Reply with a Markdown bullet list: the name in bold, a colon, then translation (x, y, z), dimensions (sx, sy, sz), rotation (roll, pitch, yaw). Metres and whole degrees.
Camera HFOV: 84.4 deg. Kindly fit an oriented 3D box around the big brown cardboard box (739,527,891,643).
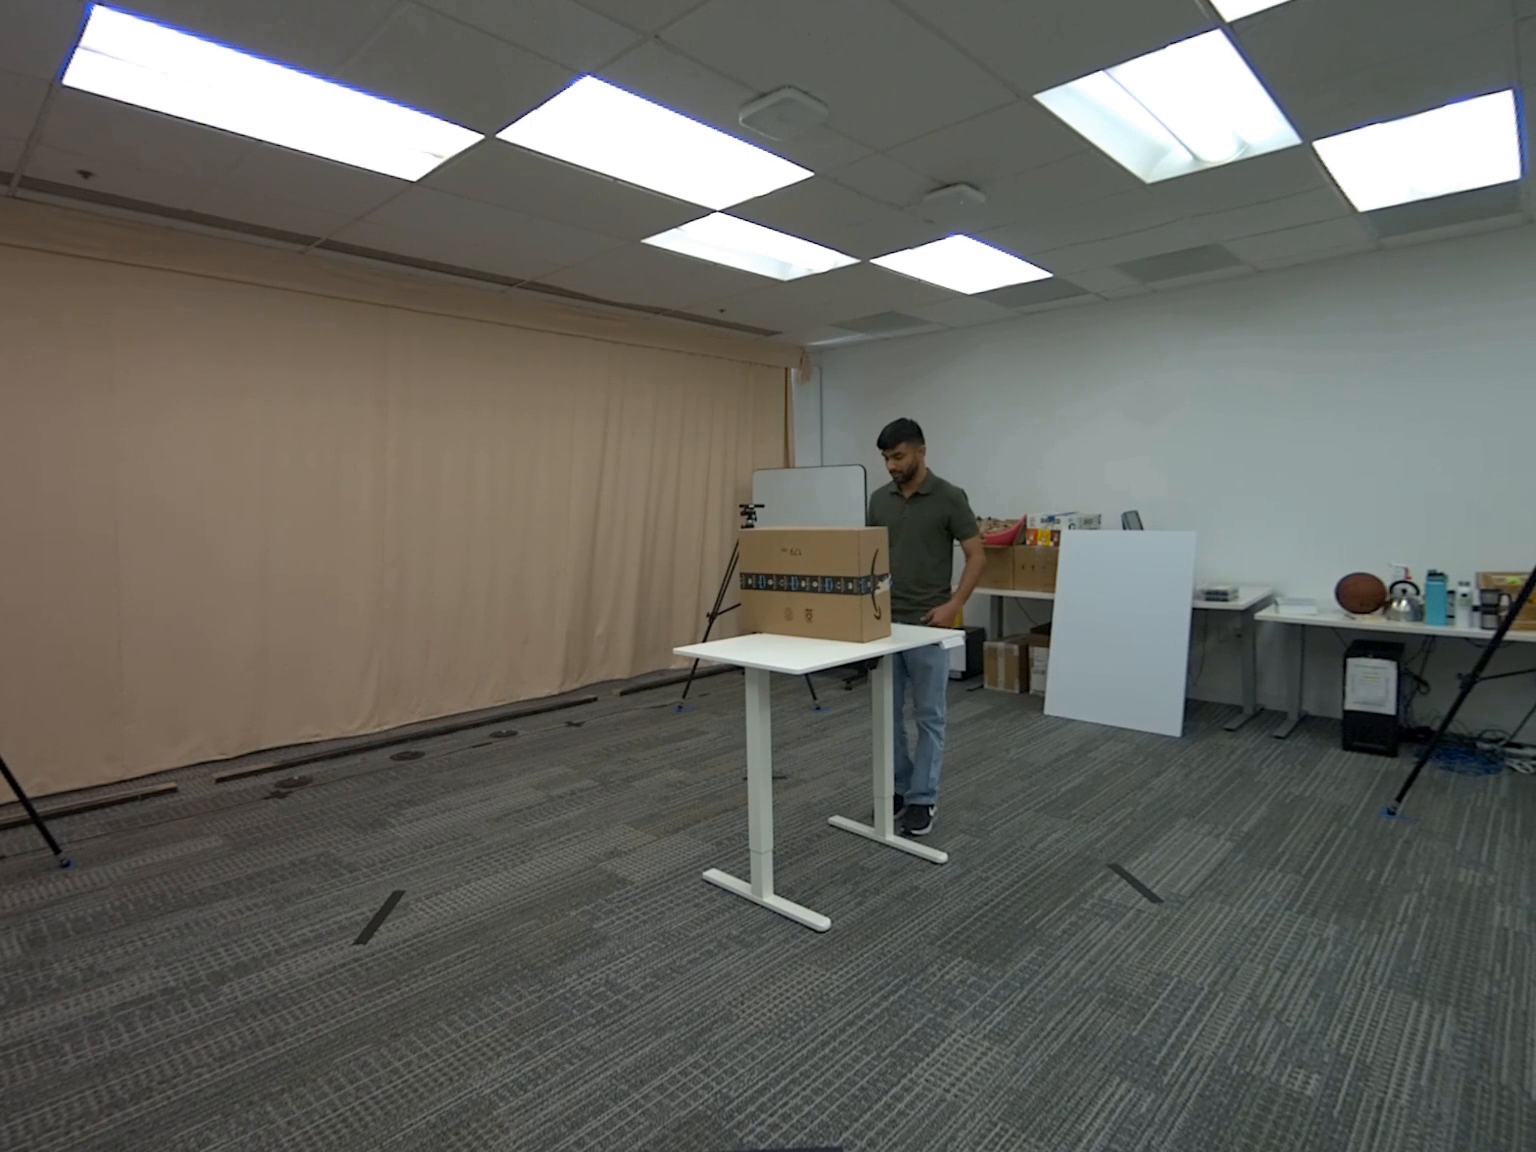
- **big brown cardboard box**: translation (0.175, 0.021, 3.308), dimensions (0.608, 0.416, 0.226), rotation (3, 6, 40)
